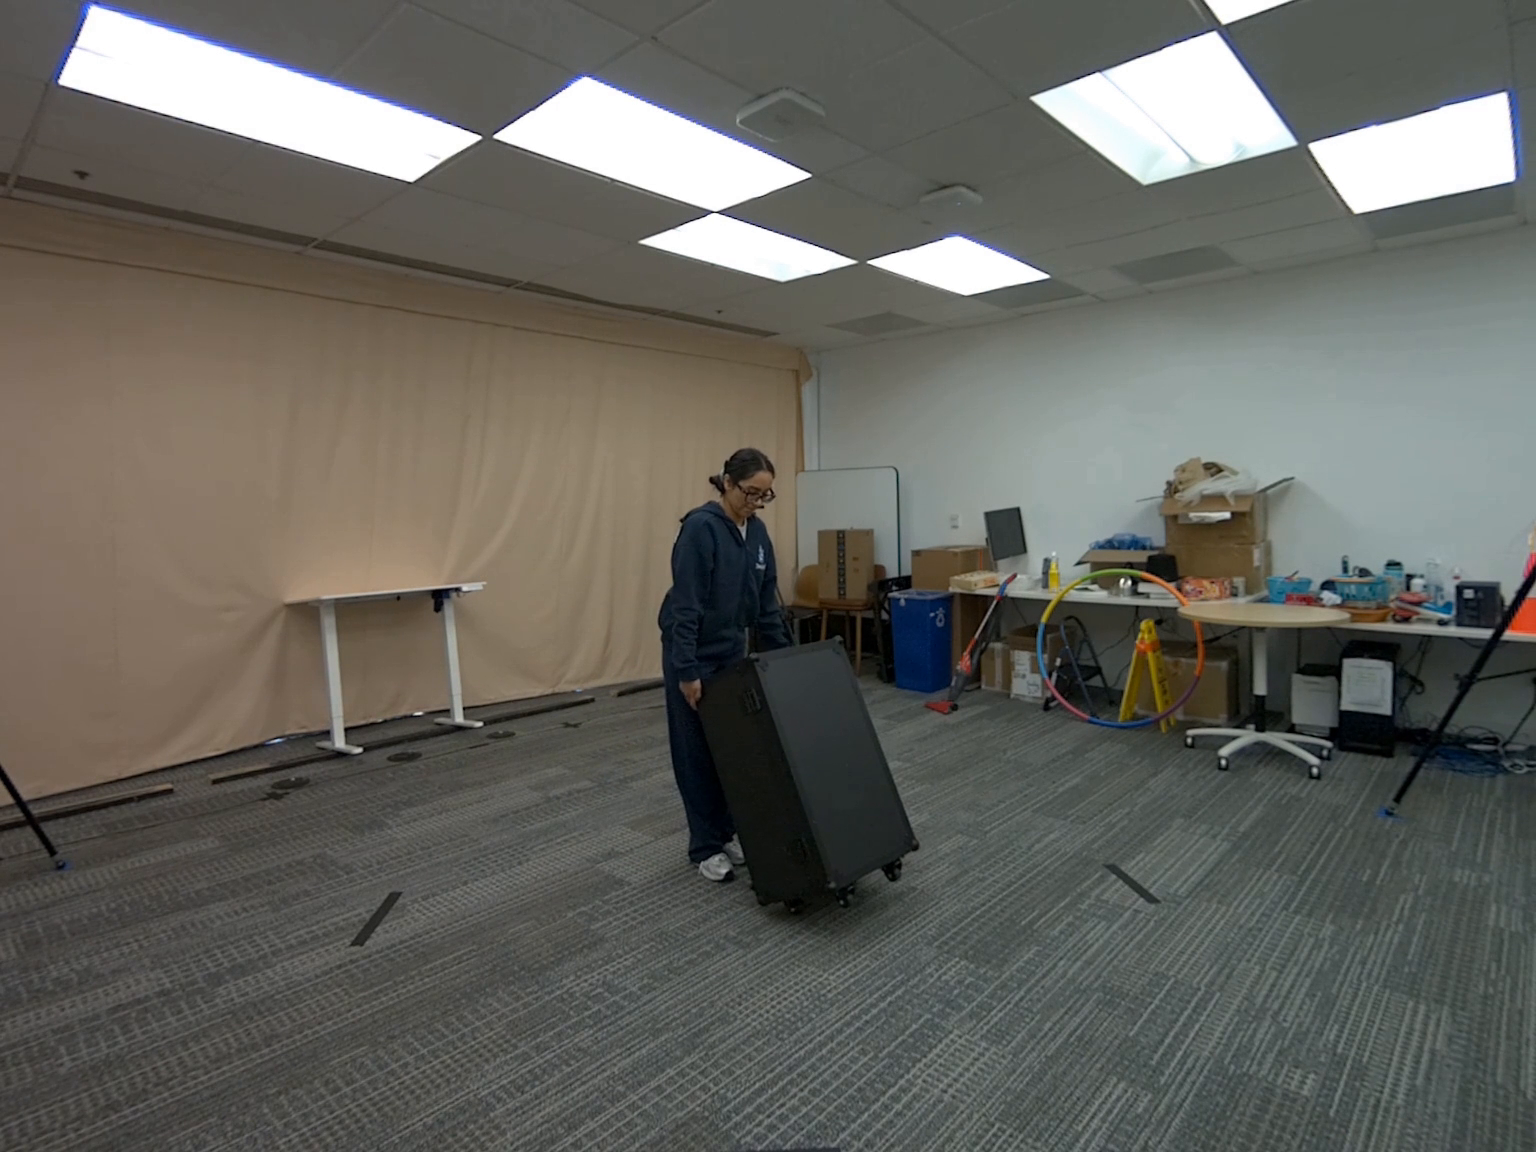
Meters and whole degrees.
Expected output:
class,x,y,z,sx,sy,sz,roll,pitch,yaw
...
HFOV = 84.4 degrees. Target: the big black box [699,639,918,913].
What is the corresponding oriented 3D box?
class,x,y,z,sx,sy,sz,roll,pitch,yaw
big black box,0.128,0.712,2.985,0.505,0.874,0.403,-5,-21,-46
